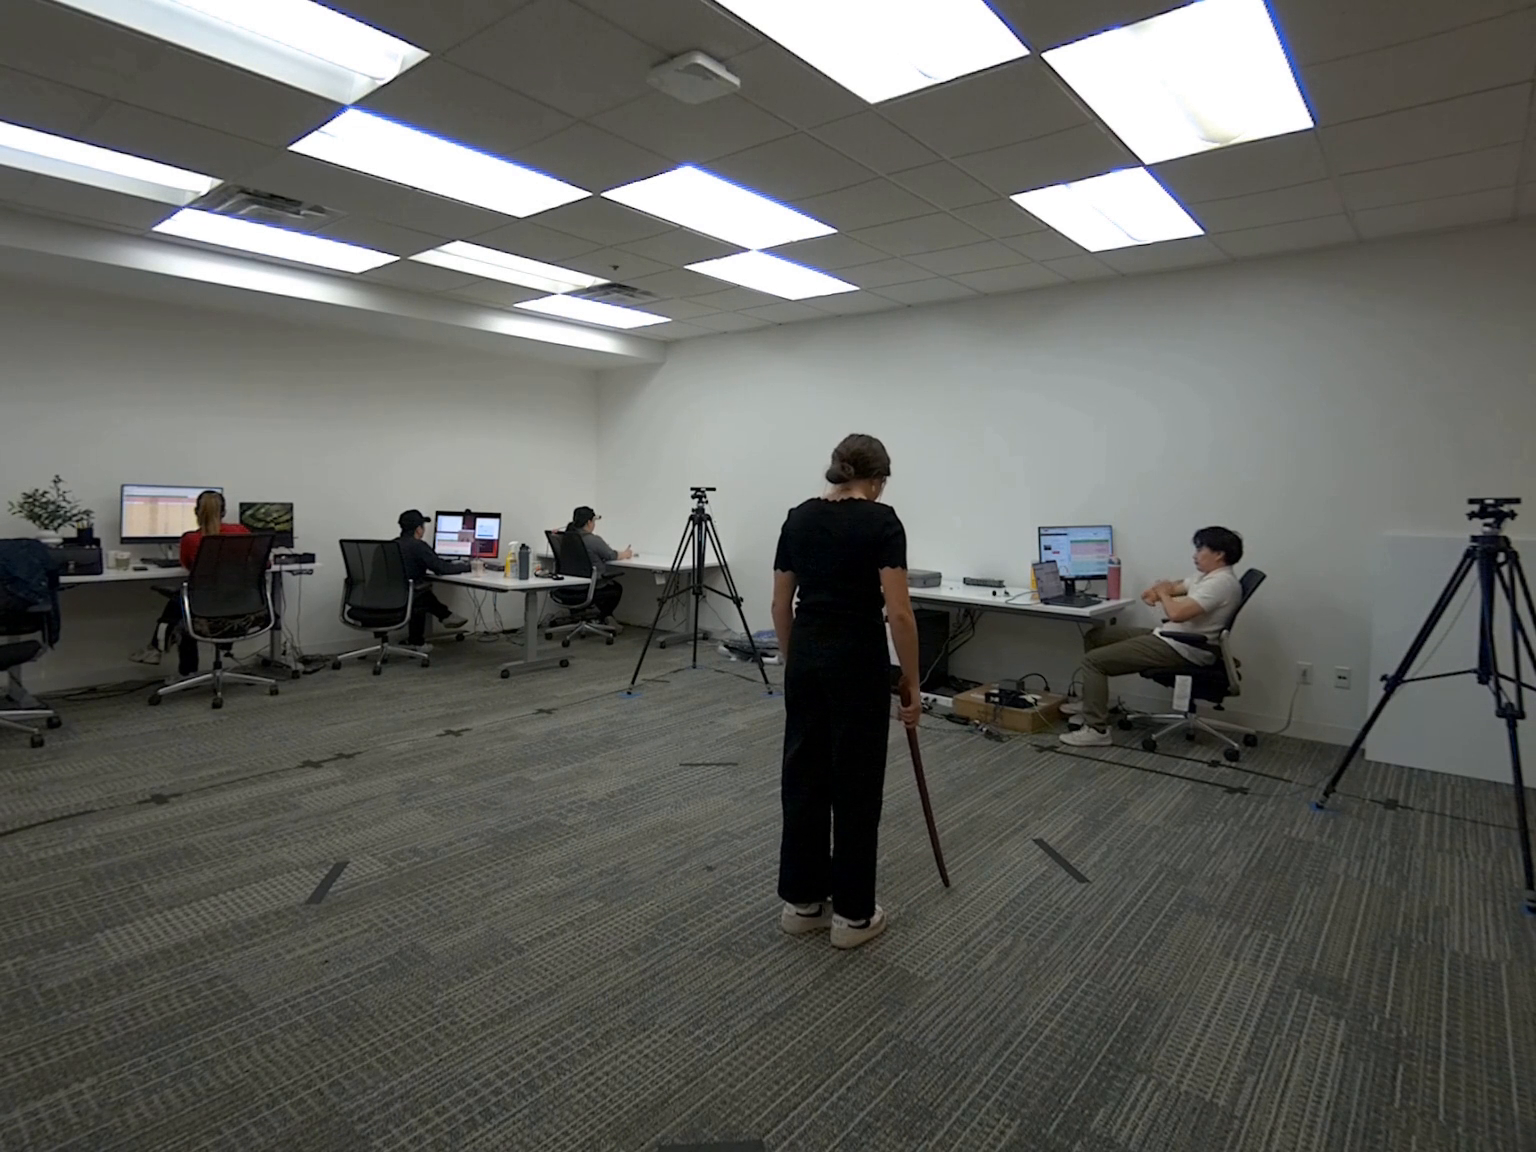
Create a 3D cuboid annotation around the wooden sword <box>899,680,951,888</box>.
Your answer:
[{"bbox_3d":[0.493,0.720,2.753,0.025,0.988,0.052,-1,41,25],"label":"wooden sword"}]
